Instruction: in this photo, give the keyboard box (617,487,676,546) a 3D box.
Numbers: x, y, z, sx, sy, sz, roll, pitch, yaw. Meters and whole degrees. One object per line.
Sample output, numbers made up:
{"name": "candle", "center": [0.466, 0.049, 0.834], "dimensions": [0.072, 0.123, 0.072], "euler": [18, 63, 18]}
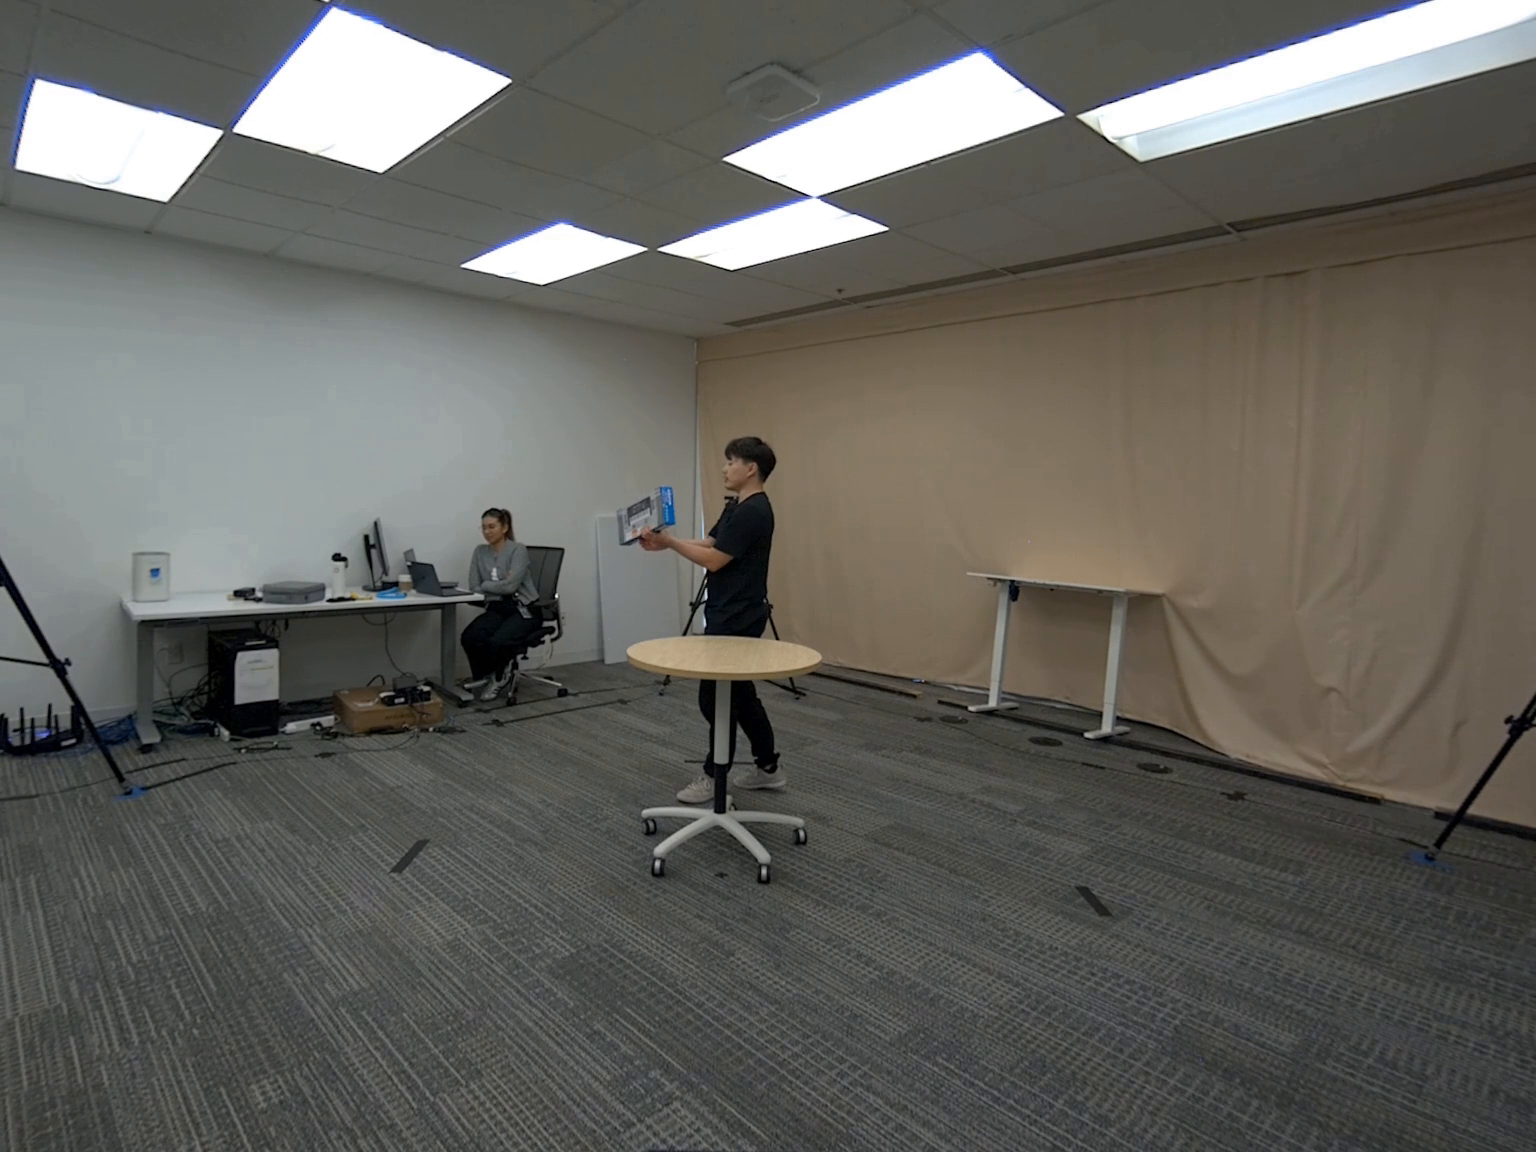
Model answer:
{"name": "keyboard box", "center": [-0.572, -0.267, 3.866], "dimensions": [0.058, 0.177, 0.443], "euler": [2, -12, -36]}
